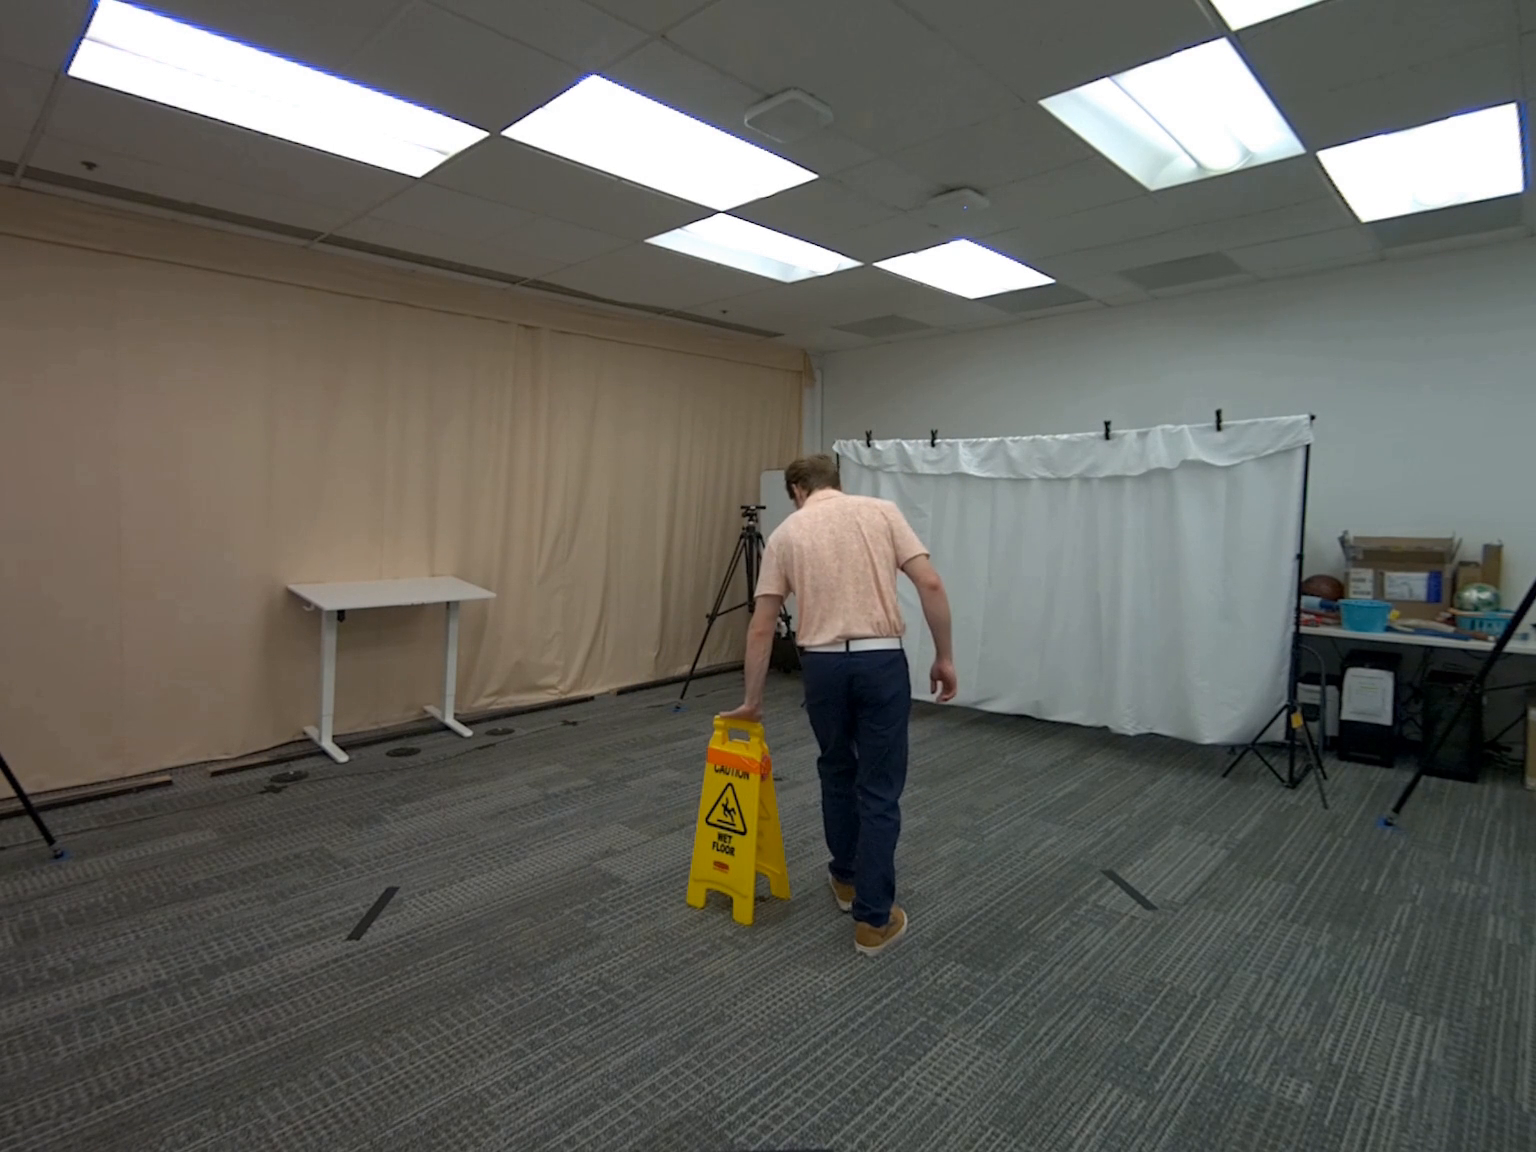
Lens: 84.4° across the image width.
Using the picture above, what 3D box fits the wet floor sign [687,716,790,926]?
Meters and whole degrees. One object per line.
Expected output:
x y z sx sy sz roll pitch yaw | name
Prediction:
-0.102 0.822 2.956 0.291 0.645 0.281 2 3 35 | wet floor sign
